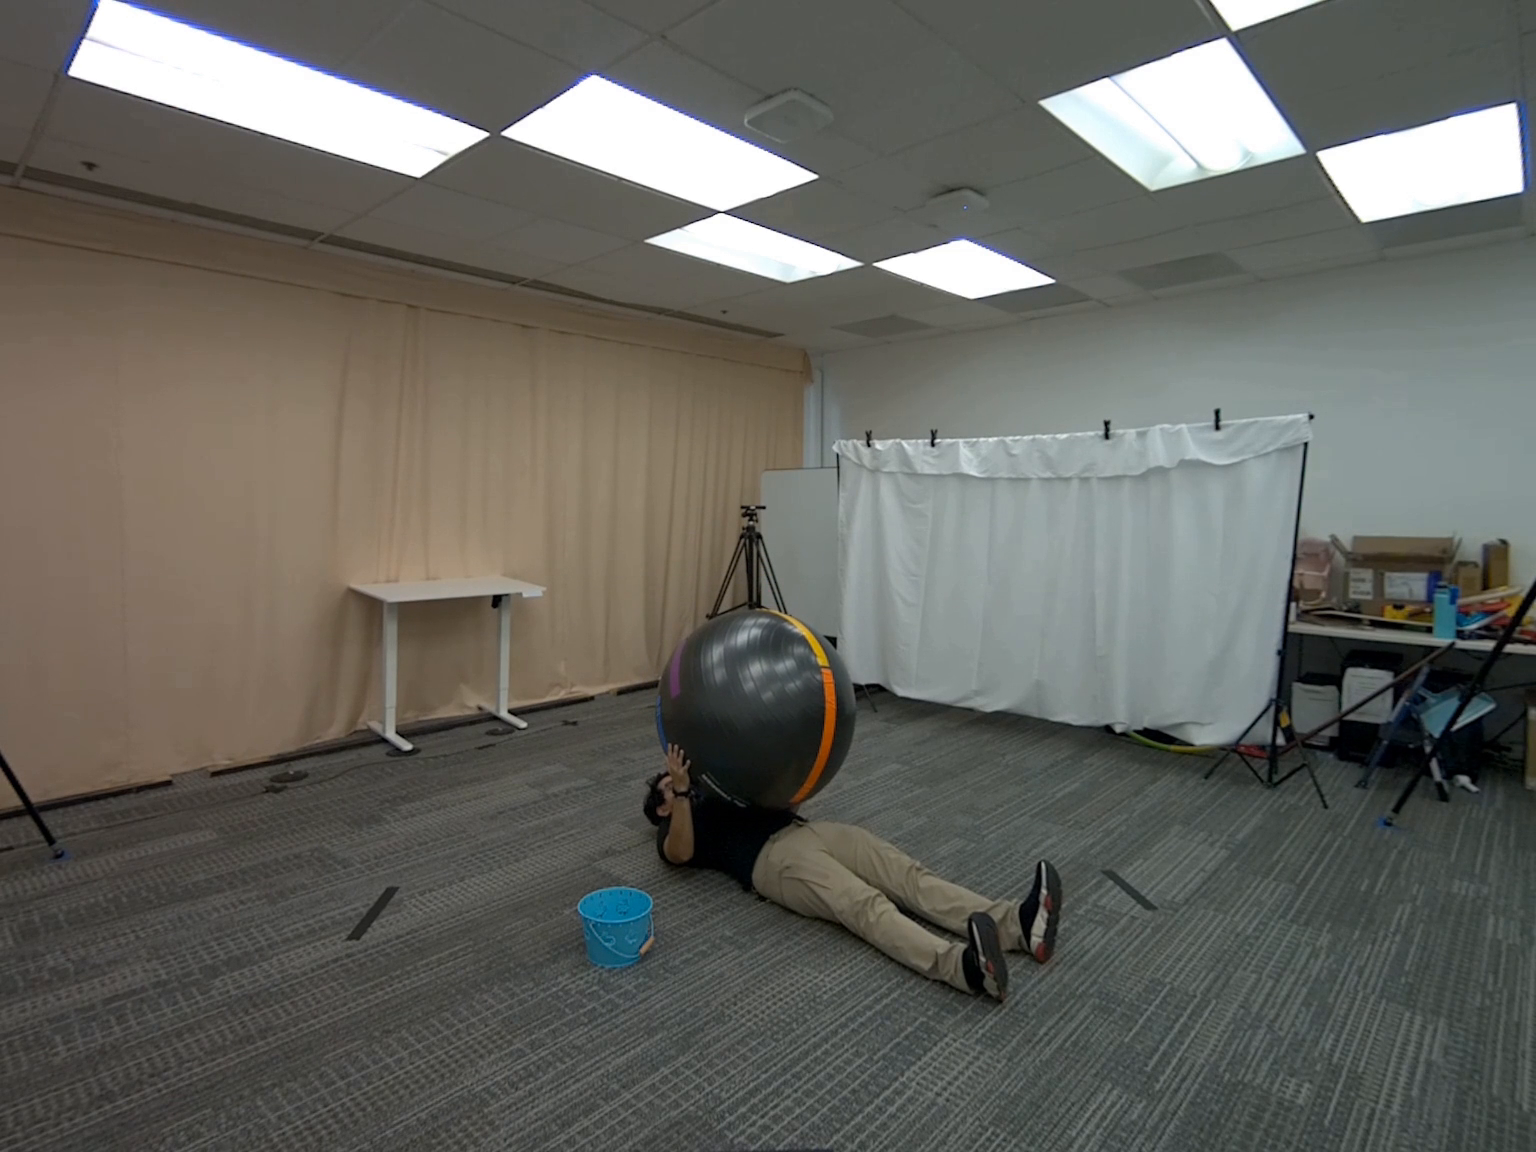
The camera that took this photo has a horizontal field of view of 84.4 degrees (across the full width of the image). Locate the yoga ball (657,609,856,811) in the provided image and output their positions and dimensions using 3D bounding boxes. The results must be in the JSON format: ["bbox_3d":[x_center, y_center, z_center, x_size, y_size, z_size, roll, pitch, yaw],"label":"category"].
[{"bbox_3d":[-0.045,0.508,3.194,0.757,0.756,0.761,0,4,-2],"label":"yoga ball"}]
